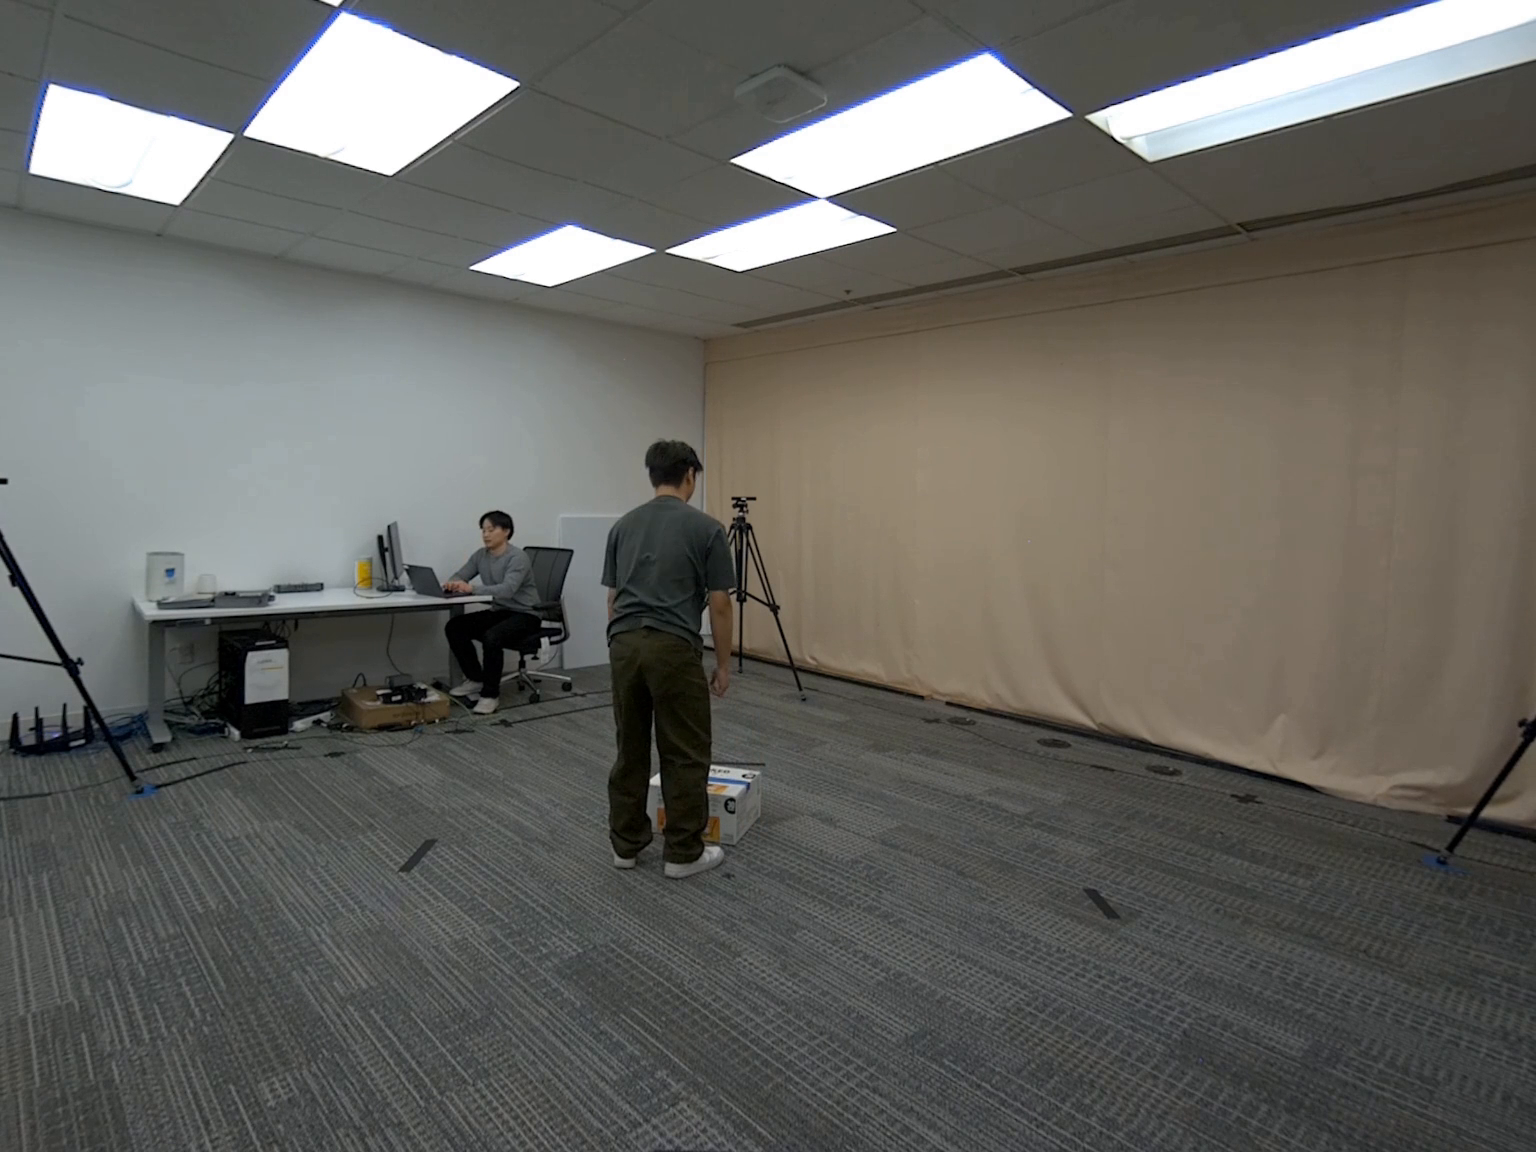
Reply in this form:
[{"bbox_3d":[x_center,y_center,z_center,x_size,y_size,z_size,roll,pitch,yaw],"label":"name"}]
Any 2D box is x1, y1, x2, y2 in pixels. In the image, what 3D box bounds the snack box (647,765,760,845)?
[{"bbox_3d":[-0.288,0.962,3.593,0.411,0.205,0.336,3,5,18],"label":"snack box"}]
